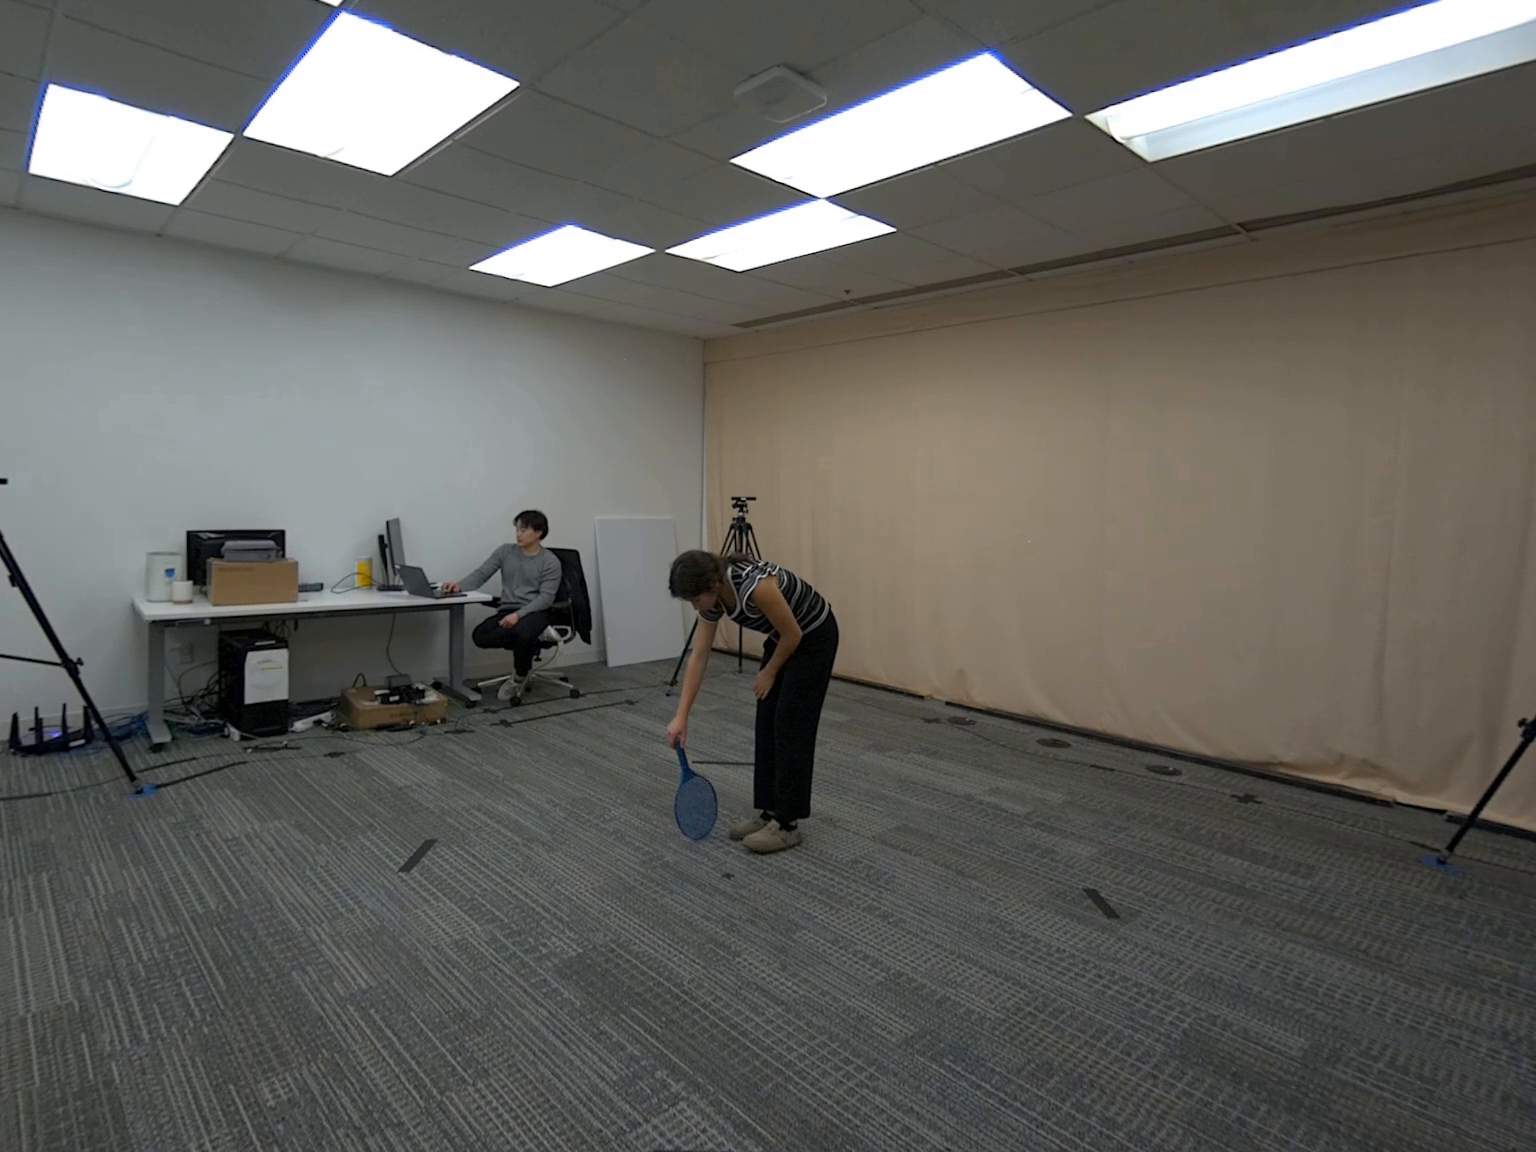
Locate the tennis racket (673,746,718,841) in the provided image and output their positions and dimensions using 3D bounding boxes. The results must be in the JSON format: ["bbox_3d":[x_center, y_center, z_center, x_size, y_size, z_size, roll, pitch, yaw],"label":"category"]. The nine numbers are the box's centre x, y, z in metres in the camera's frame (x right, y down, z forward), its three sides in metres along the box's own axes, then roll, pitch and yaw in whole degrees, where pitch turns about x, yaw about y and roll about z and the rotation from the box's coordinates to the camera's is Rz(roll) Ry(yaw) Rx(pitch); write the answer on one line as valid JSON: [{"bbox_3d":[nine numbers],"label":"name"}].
[{"bbox_3d":[-0.320,0.866,3.413,0.211,0.428,0.032,-26,14,-35],"label":"tennis racket"}]
